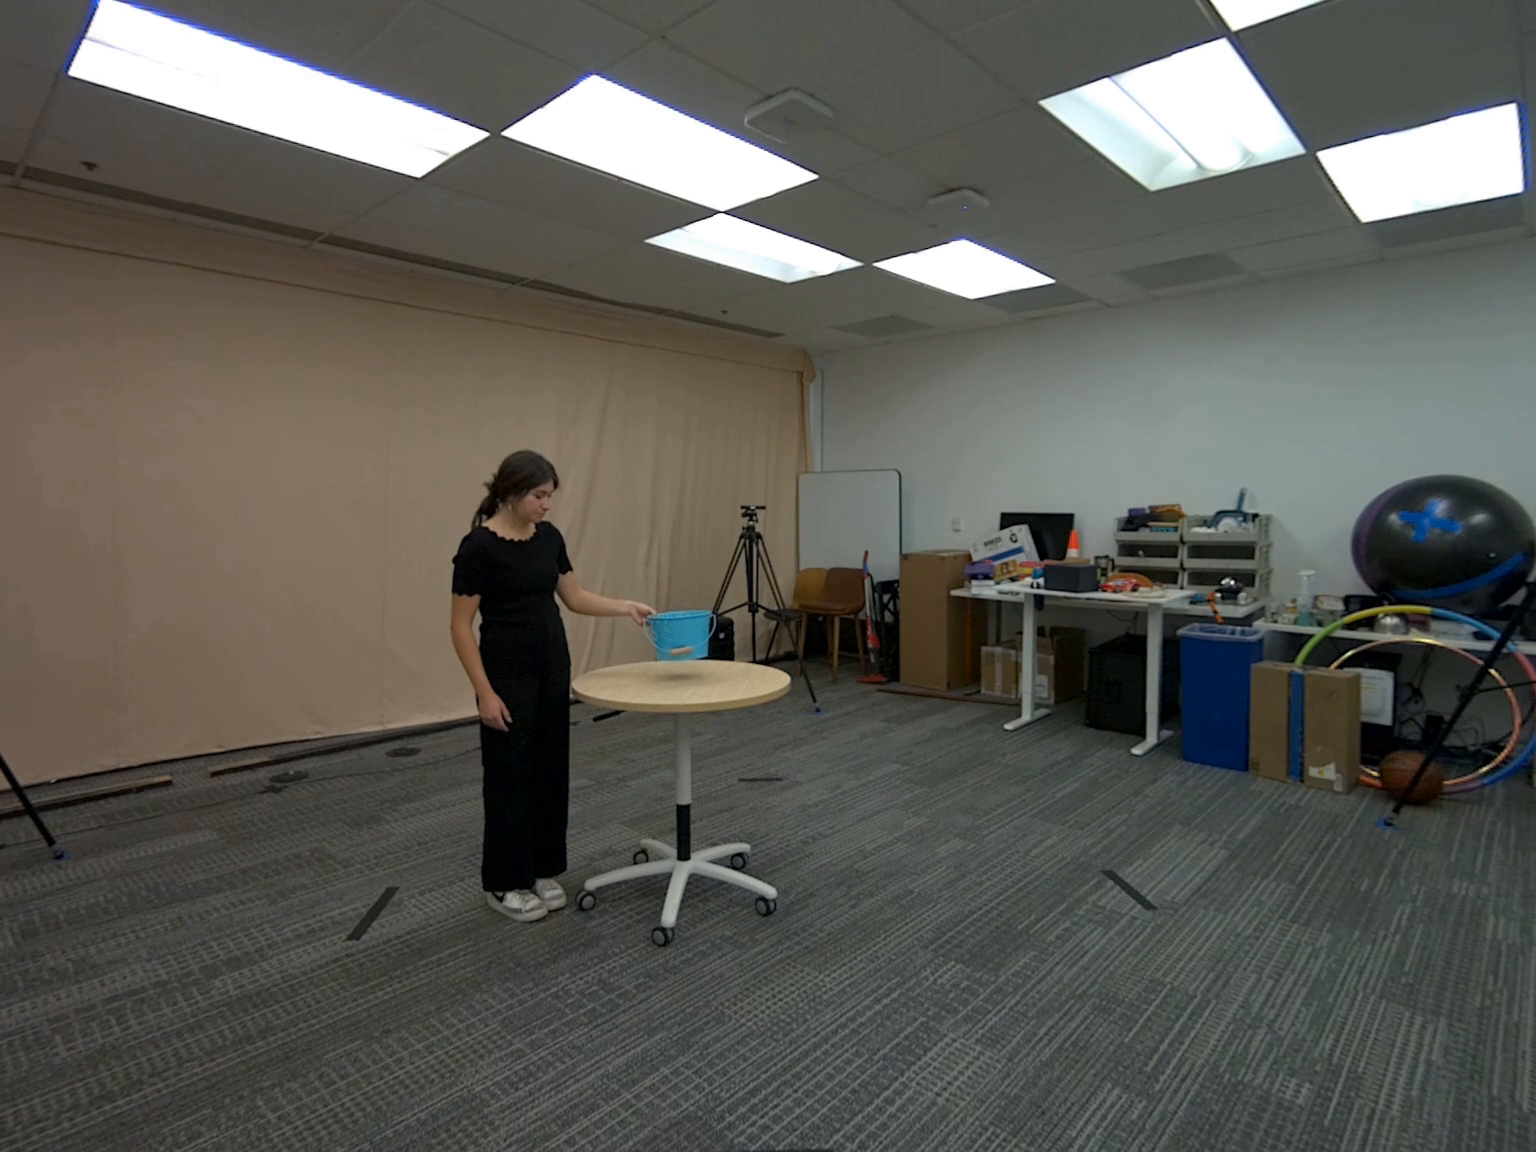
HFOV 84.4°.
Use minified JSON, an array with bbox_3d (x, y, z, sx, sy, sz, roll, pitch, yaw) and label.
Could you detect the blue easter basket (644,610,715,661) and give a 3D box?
[{"bbox_3d":[-0.319,0.216,2.967,0.243,0.156,0.244,-5,2,-2],"label":"blue easter basket"}]
